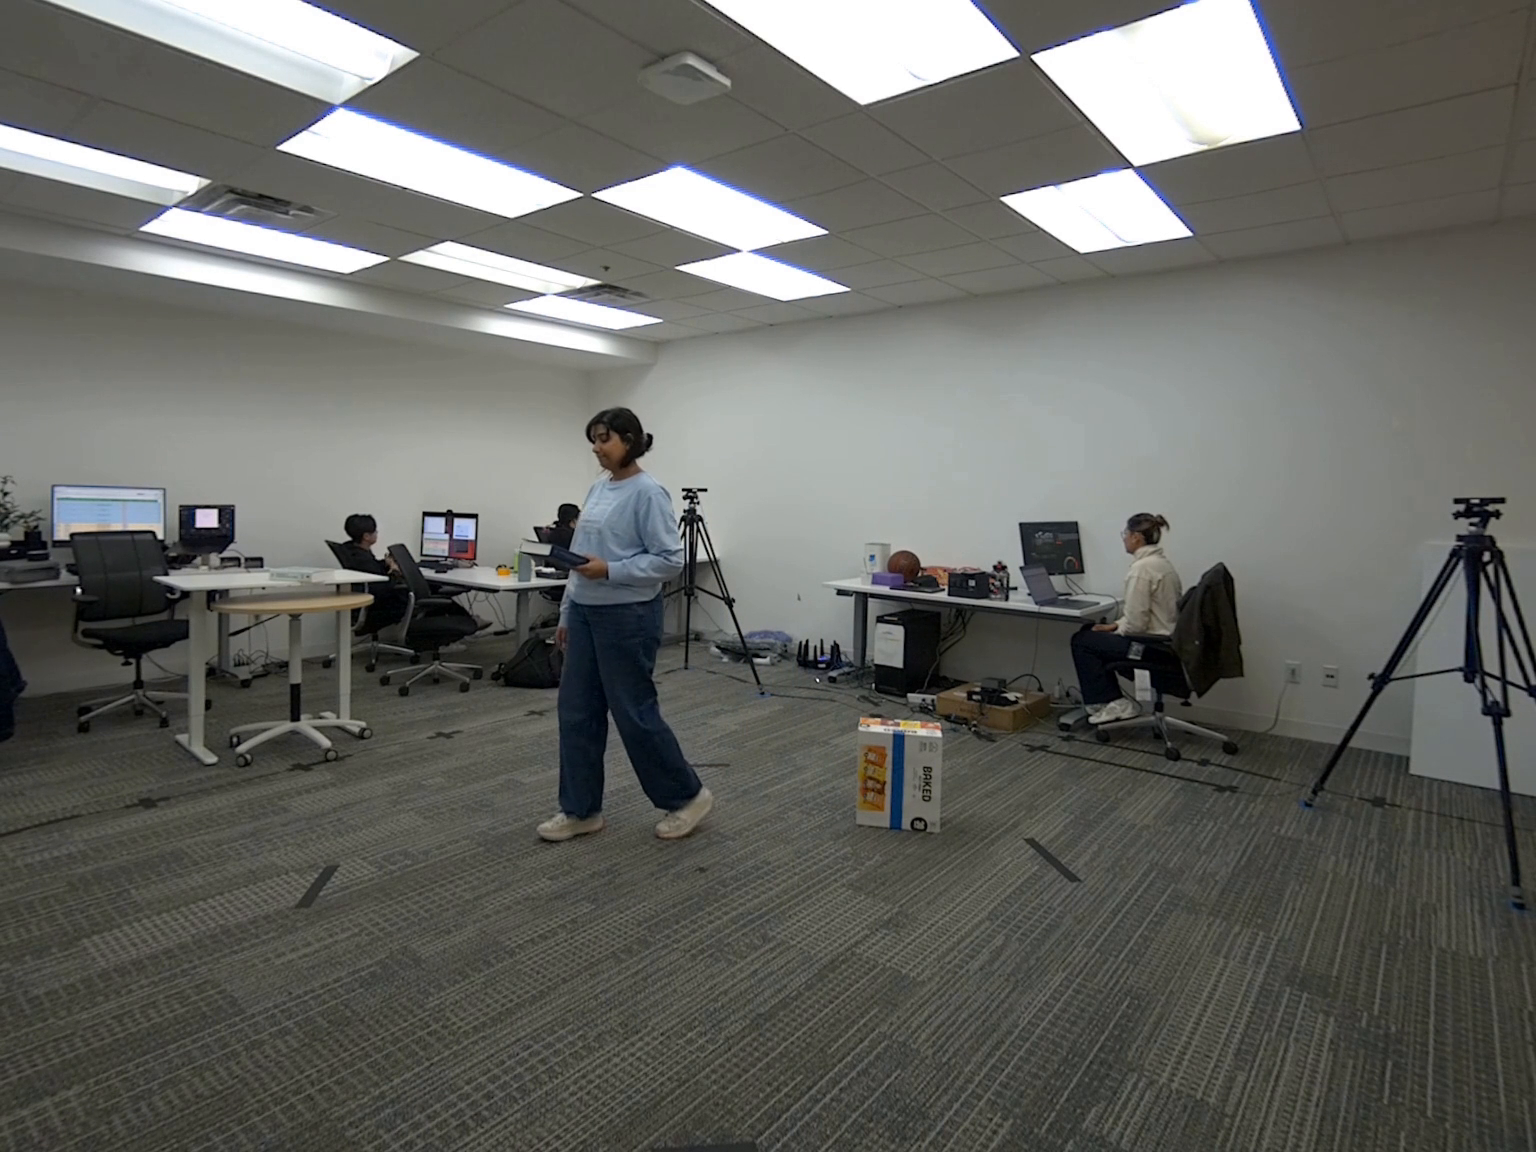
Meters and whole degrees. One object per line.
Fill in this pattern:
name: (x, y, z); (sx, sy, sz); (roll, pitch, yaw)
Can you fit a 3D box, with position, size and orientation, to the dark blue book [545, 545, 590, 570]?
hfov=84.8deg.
dark blue book: (-0.816, -0.082, 3.150); (0.169, 0.045, 0.236); (9, -7, 32)
